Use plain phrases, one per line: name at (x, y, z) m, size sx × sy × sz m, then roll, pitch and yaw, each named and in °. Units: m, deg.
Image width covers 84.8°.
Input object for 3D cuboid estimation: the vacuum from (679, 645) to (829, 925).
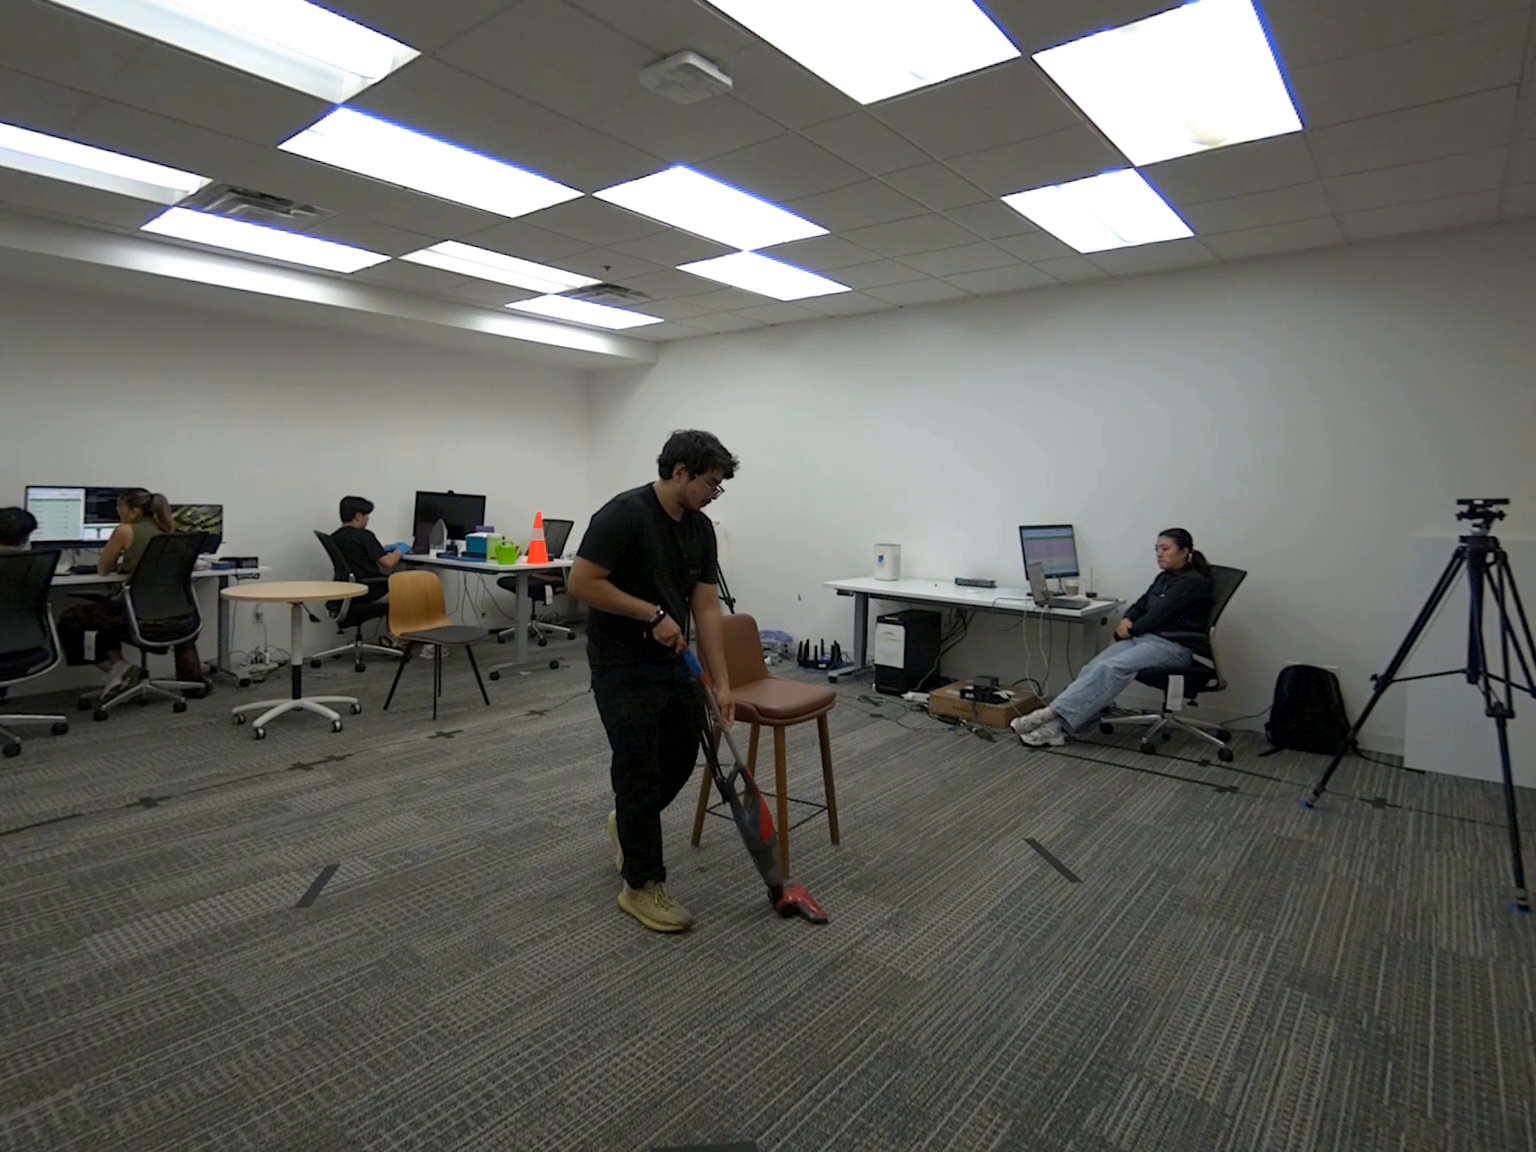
vacuum at (-0.115, 0.644, 2.742) m, size 0.142 × 1.035 × 0.258 m, roll -27°, pitch 11°, yaw -20°
